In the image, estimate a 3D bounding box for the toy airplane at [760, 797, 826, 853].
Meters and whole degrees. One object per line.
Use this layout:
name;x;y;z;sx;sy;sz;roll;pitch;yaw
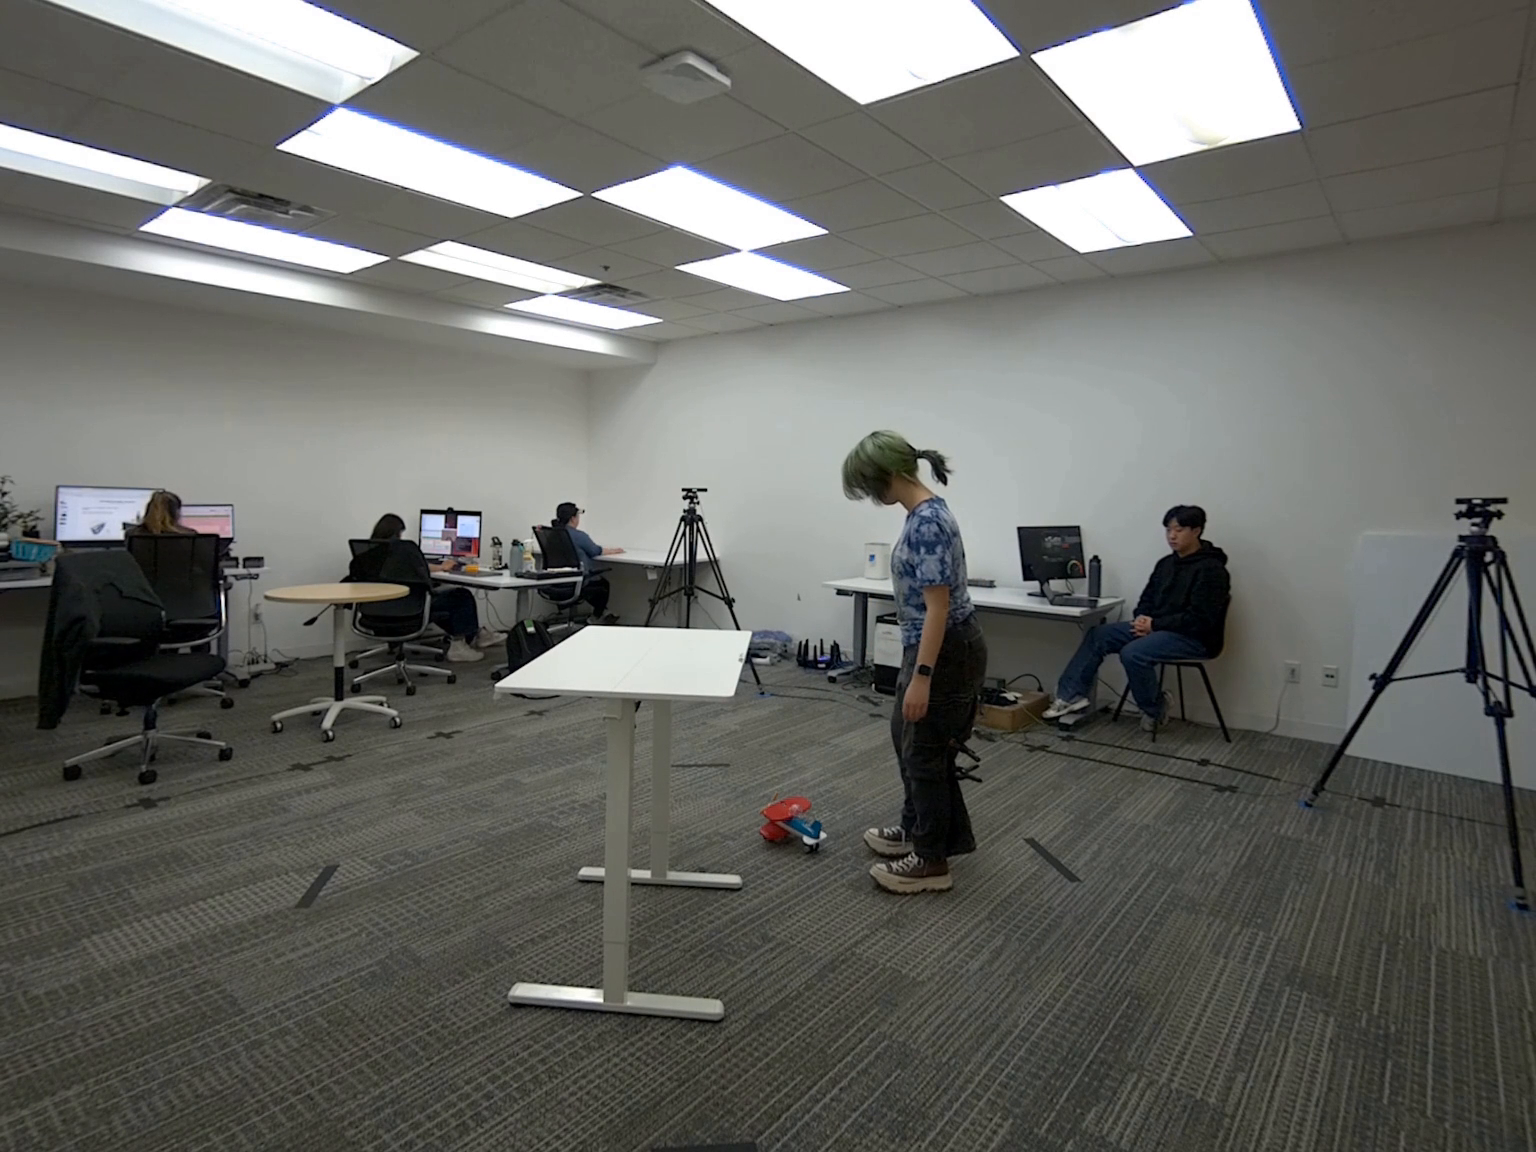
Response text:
toy airplane;0.101;0.977;3.358;0.263;0.156;0.248;0;4;12
